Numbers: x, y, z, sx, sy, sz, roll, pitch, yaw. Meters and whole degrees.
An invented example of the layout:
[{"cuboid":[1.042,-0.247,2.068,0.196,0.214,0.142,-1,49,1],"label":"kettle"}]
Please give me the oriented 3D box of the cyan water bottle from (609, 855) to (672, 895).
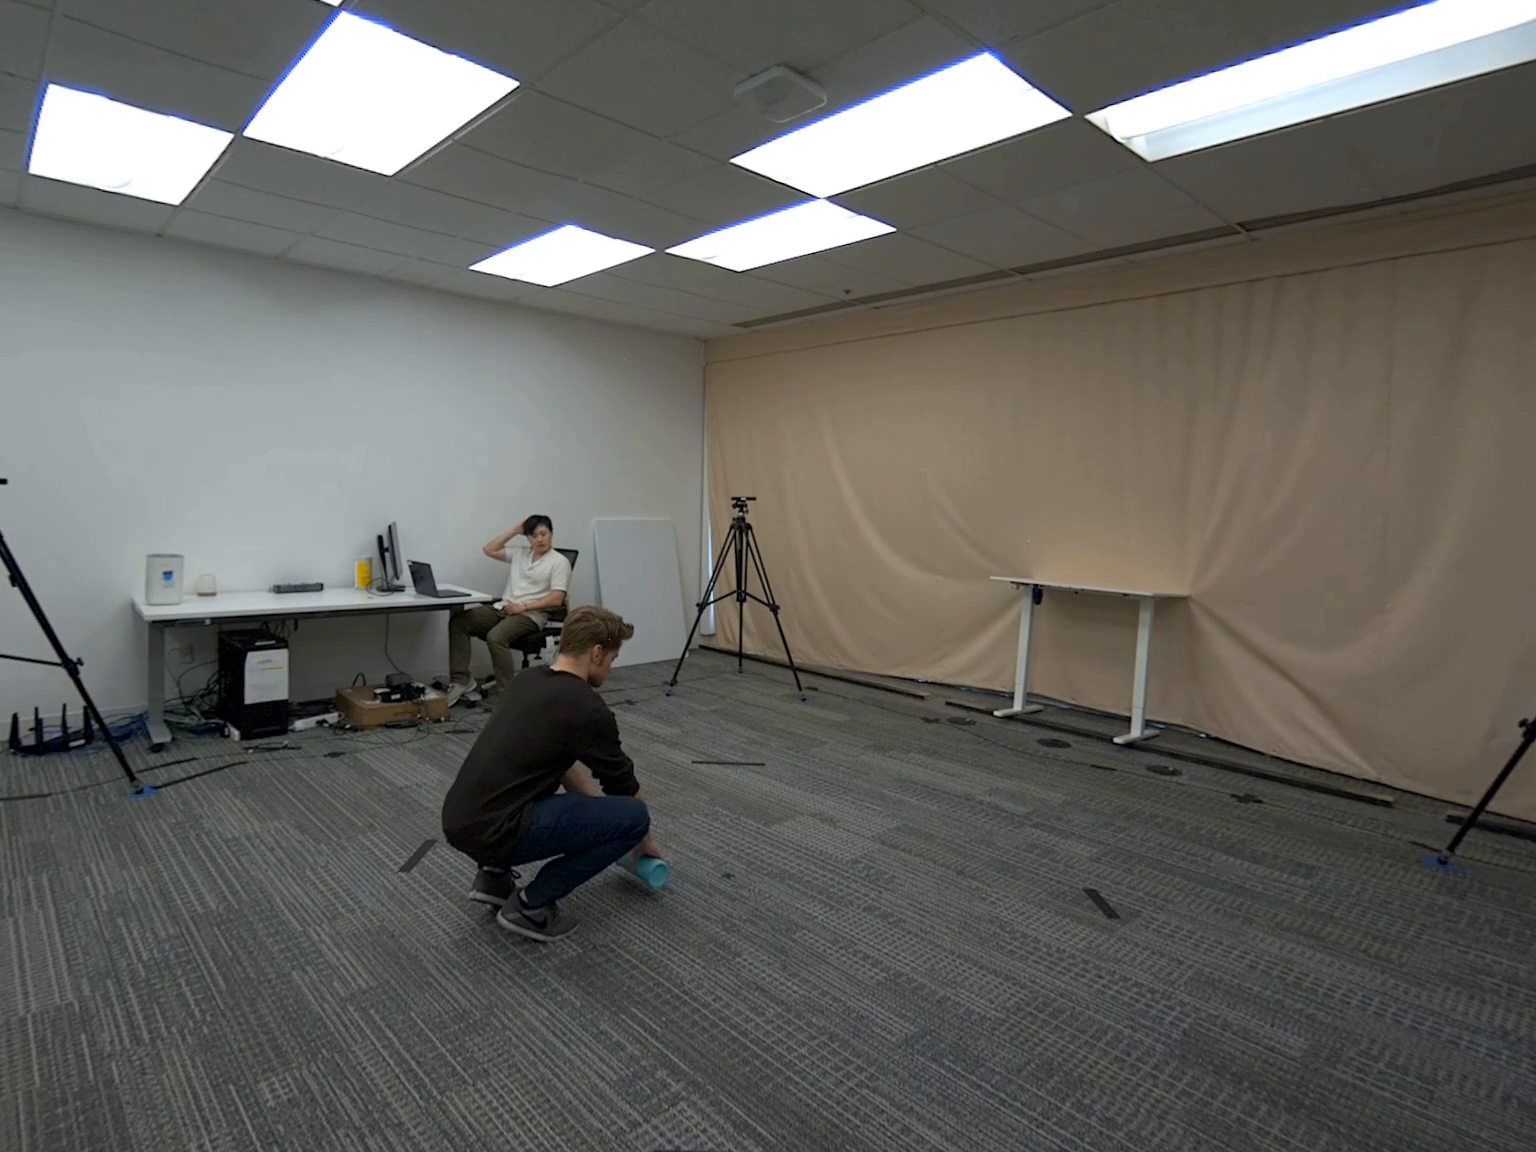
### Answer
[{"cuboid":[-0.466,1.015,3.007,0.090,0.092,0.291,-2,7,-41],"label":"cyan water bottle"}]
